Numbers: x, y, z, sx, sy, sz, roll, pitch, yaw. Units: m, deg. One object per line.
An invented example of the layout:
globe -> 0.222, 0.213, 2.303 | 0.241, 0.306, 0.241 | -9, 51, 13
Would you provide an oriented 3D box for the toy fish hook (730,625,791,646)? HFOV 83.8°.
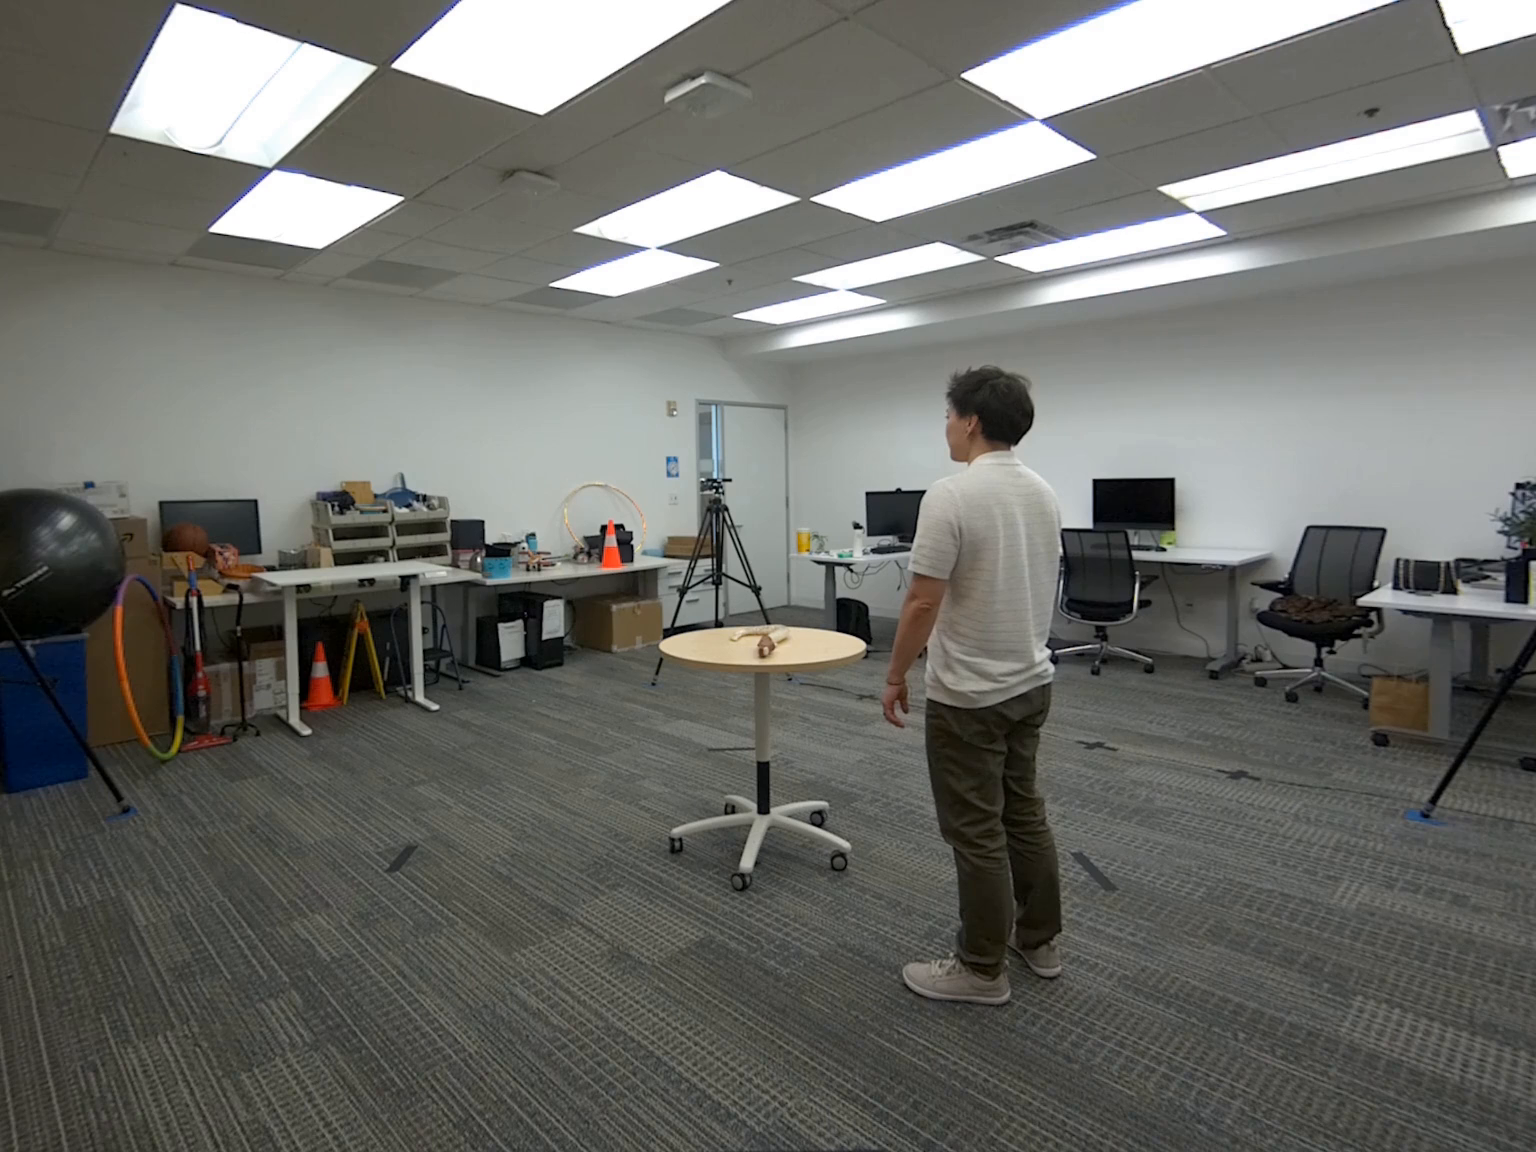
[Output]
toy fish hook -> -0.048, 0.240, 3.152 | 0.226, 0.048, 0.504 | -8, 4, 7
